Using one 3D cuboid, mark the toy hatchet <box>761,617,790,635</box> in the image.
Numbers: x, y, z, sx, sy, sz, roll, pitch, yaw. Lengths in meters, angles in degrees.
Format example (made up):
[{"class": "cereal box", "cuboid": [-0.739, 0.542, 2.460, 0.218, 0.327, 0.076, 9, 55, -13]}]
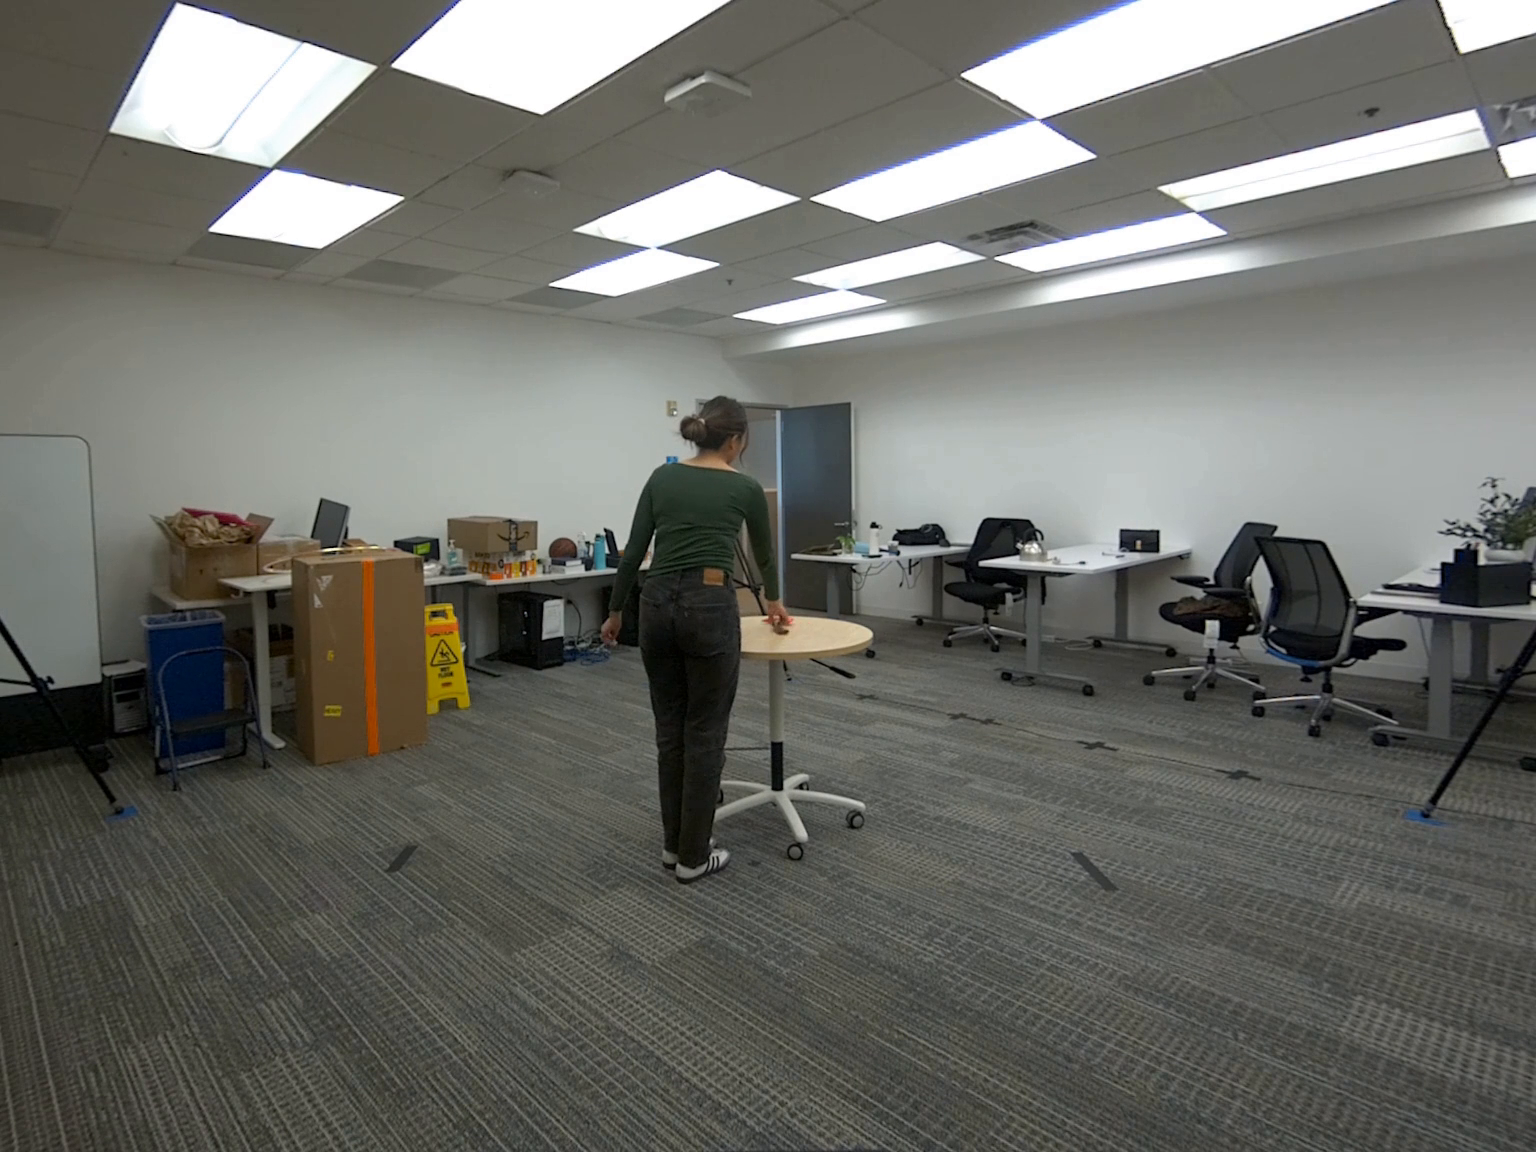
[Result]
[{"class": "toy hatchet", "cuboid": [0.067, 0.202, 3.489, 0.129, 0.029, 0.275, -7, 9, -14]}]
